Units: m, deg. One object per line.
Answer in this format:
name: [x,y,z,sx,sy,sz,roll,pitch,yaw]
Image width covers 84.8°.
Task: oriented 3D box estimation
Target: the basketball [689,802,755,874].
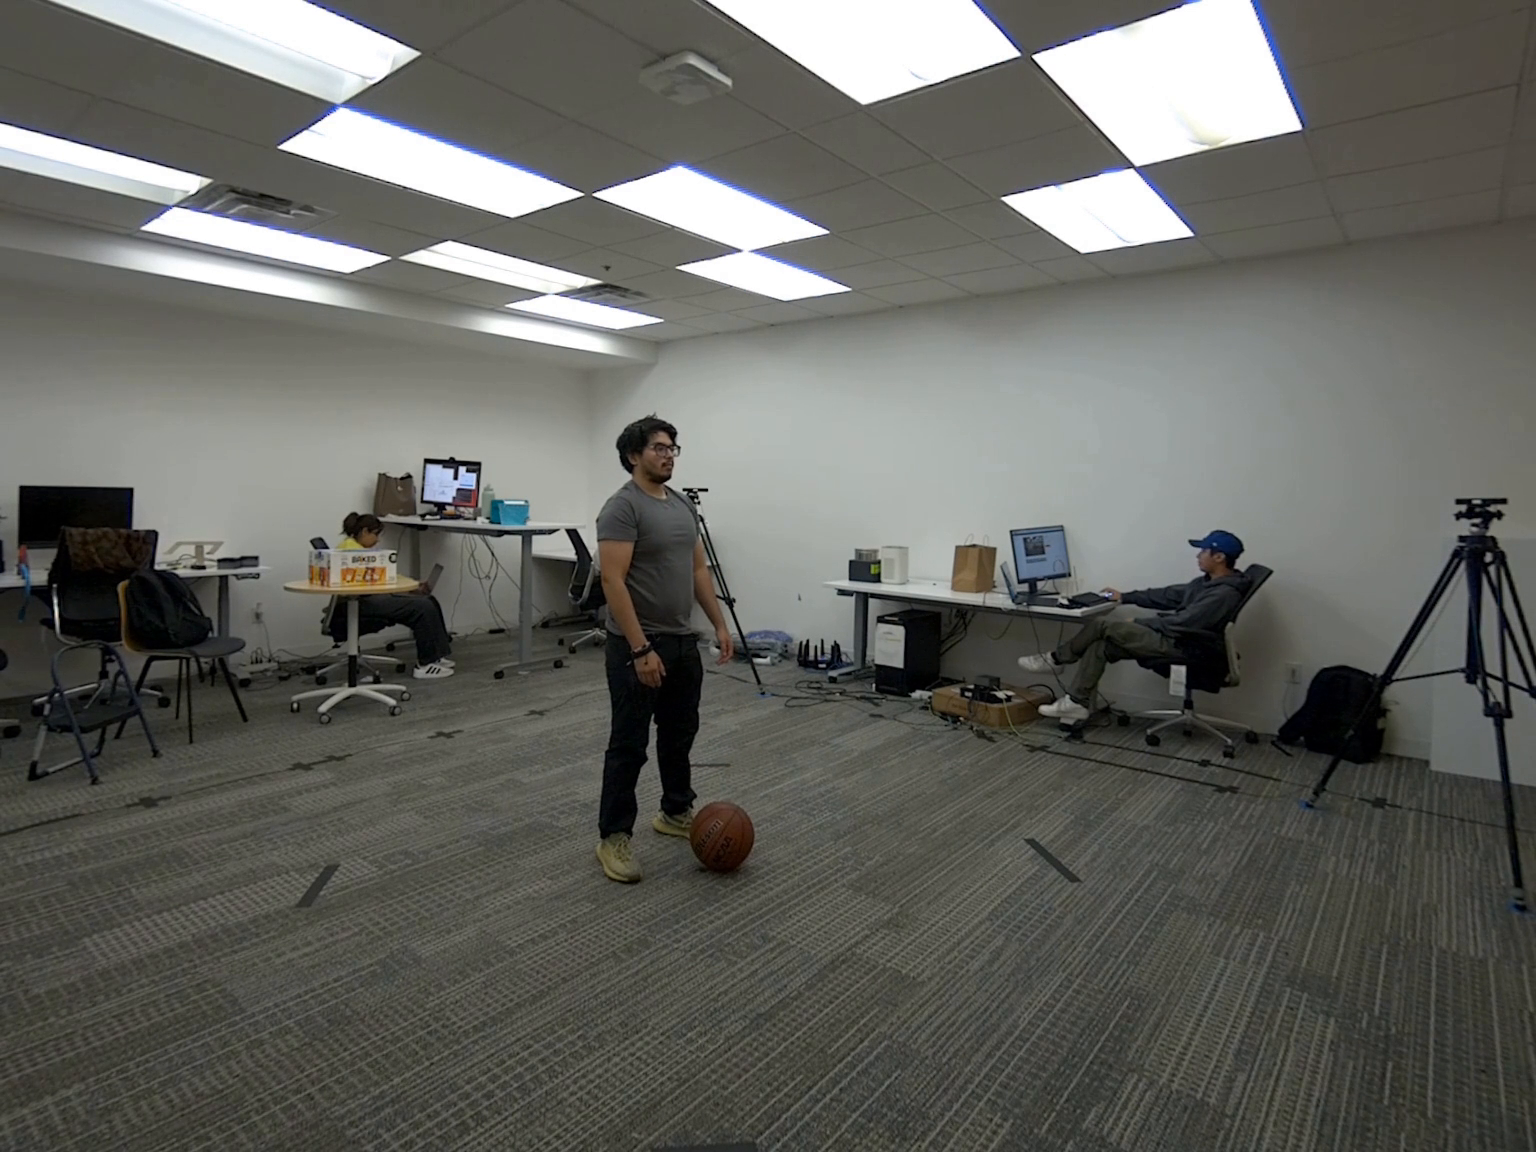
basketball: [-0.182,0.947,3.122,0.235,0.235,0.237,1,4,-2]
